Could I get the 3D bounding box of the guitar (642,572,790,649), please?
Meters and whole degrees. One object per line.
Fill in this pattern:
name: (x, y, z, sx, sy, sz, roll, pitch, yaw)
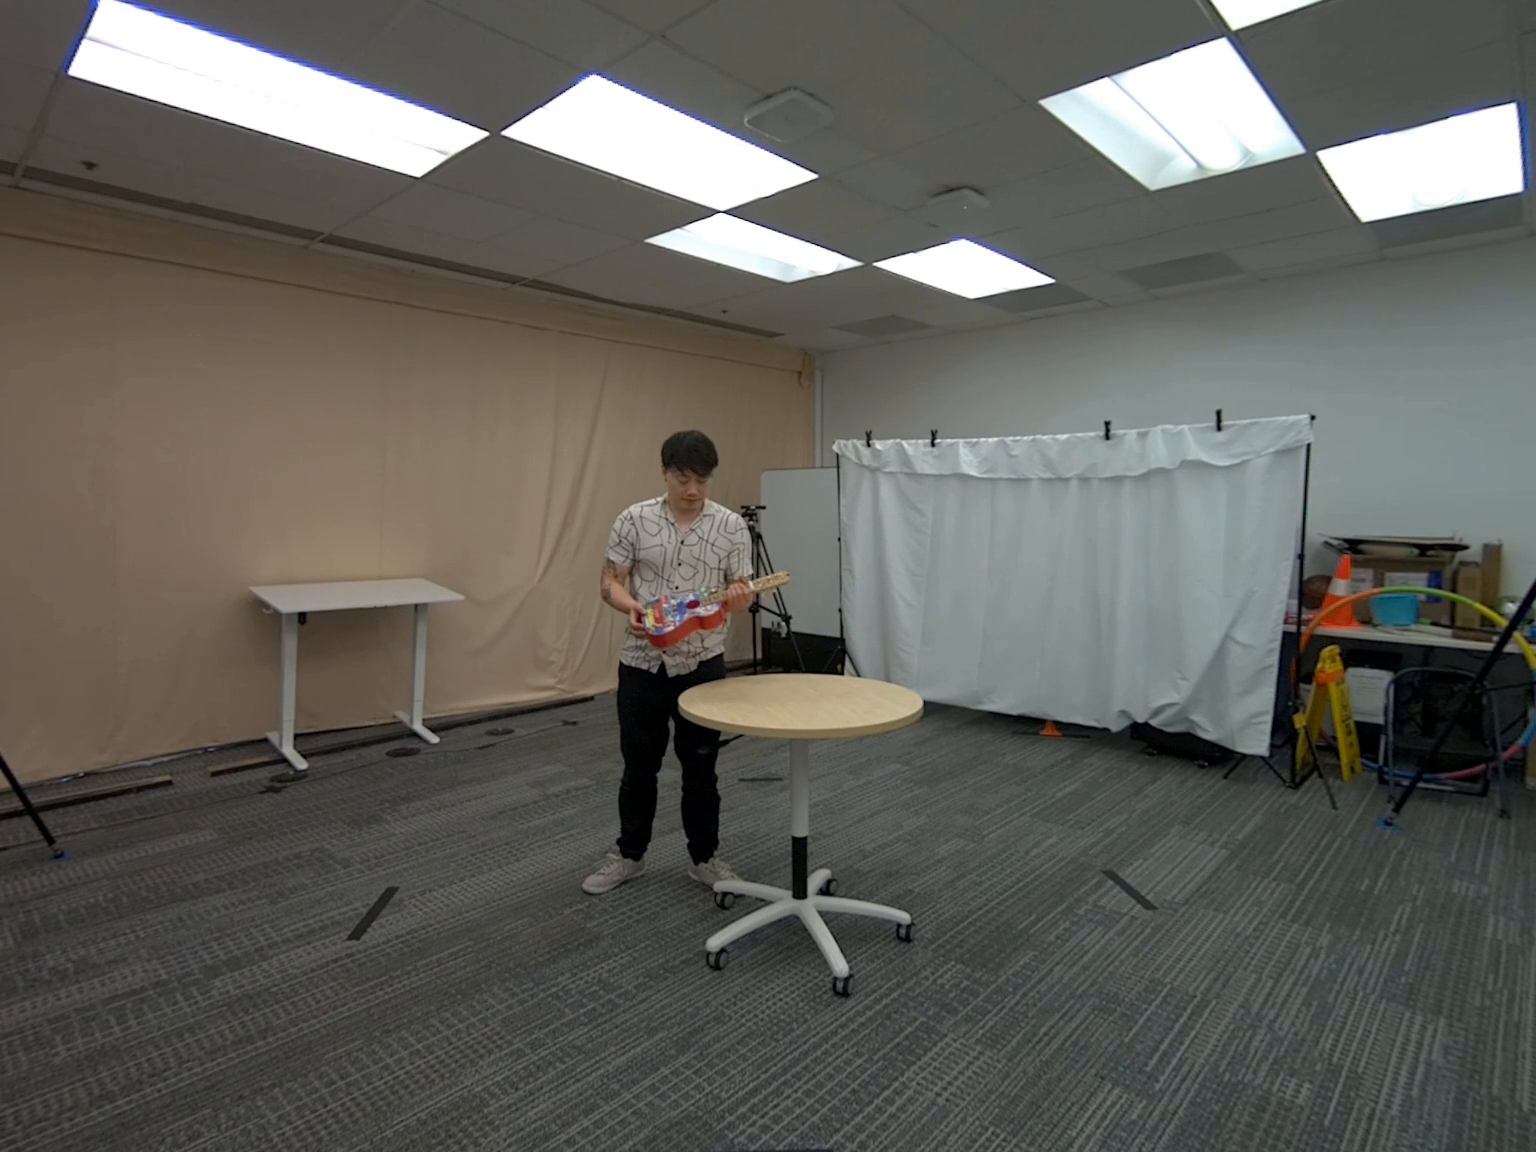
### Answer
guitar: (-0.165, 0.115, 2.715, 0.499, 0.069, 0.197, -12, 37, 3)
